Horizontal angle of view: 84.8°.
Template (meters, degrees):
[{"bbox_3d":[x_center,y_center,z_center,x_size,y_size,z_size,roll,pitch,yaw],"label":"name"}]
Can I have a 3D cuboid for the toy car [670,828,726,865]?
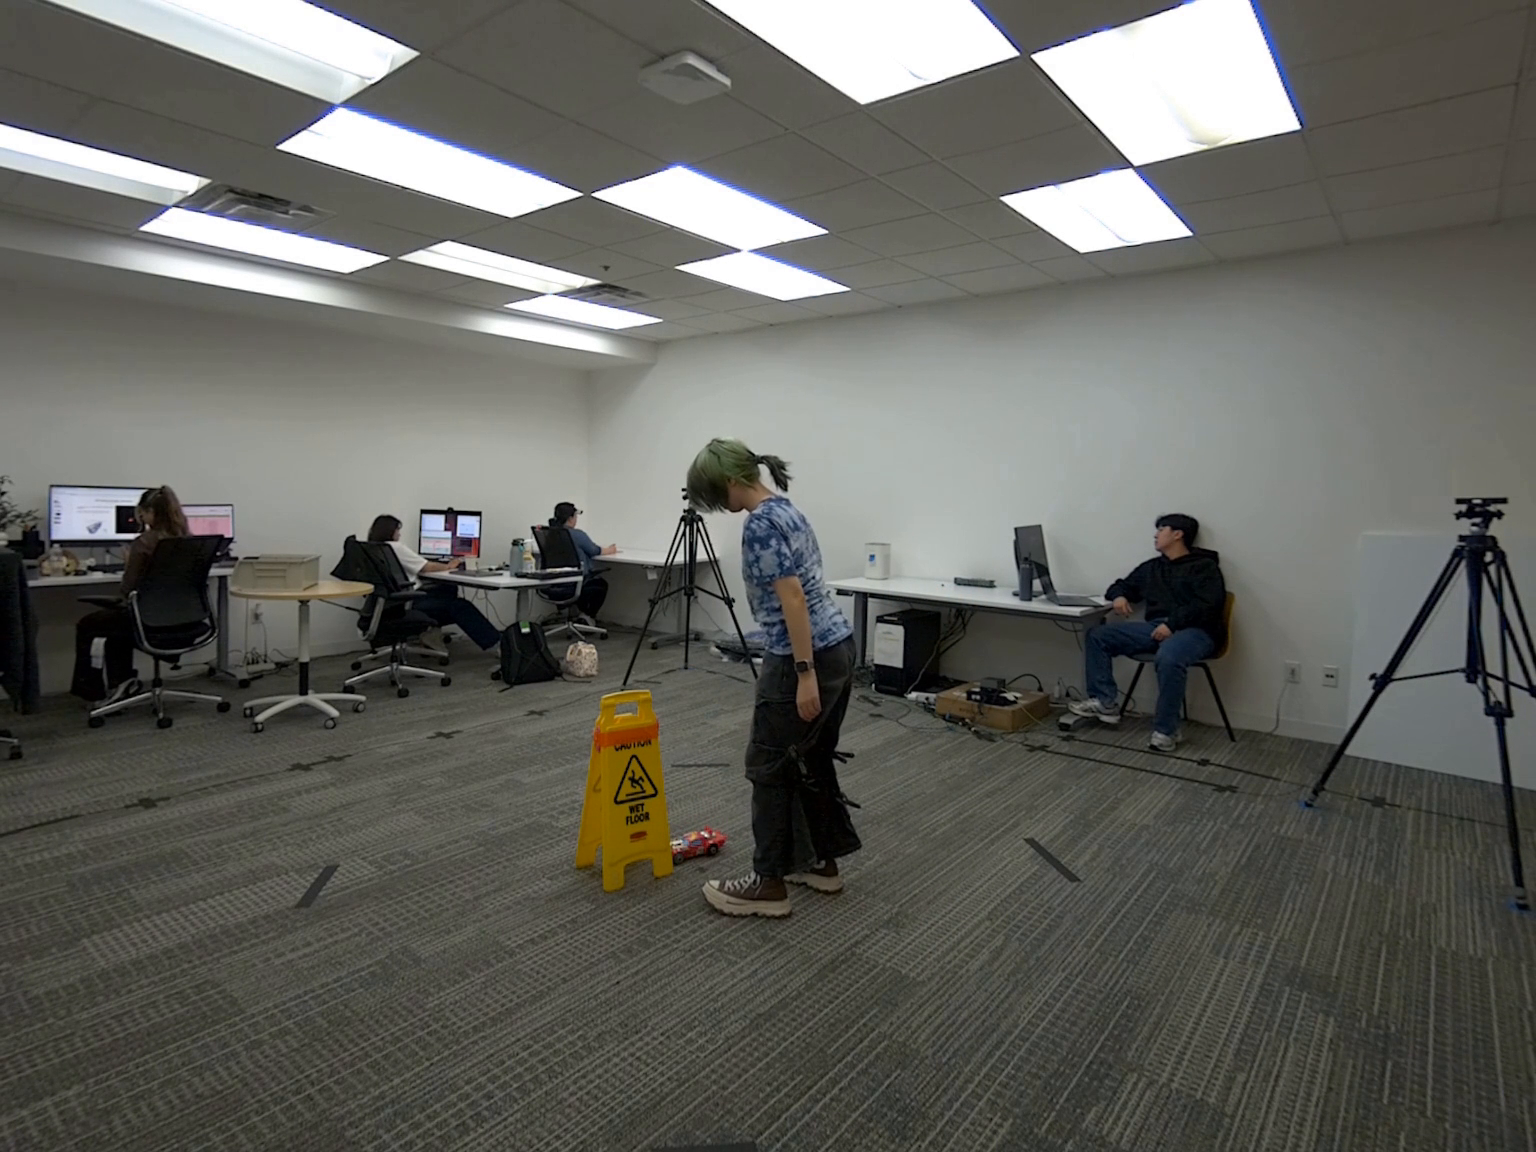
[{"bbox_3d":[-0.286,1.027,3.240,0.250,0.082,0.134,-17,14,-27],"label":"toy car"}]
